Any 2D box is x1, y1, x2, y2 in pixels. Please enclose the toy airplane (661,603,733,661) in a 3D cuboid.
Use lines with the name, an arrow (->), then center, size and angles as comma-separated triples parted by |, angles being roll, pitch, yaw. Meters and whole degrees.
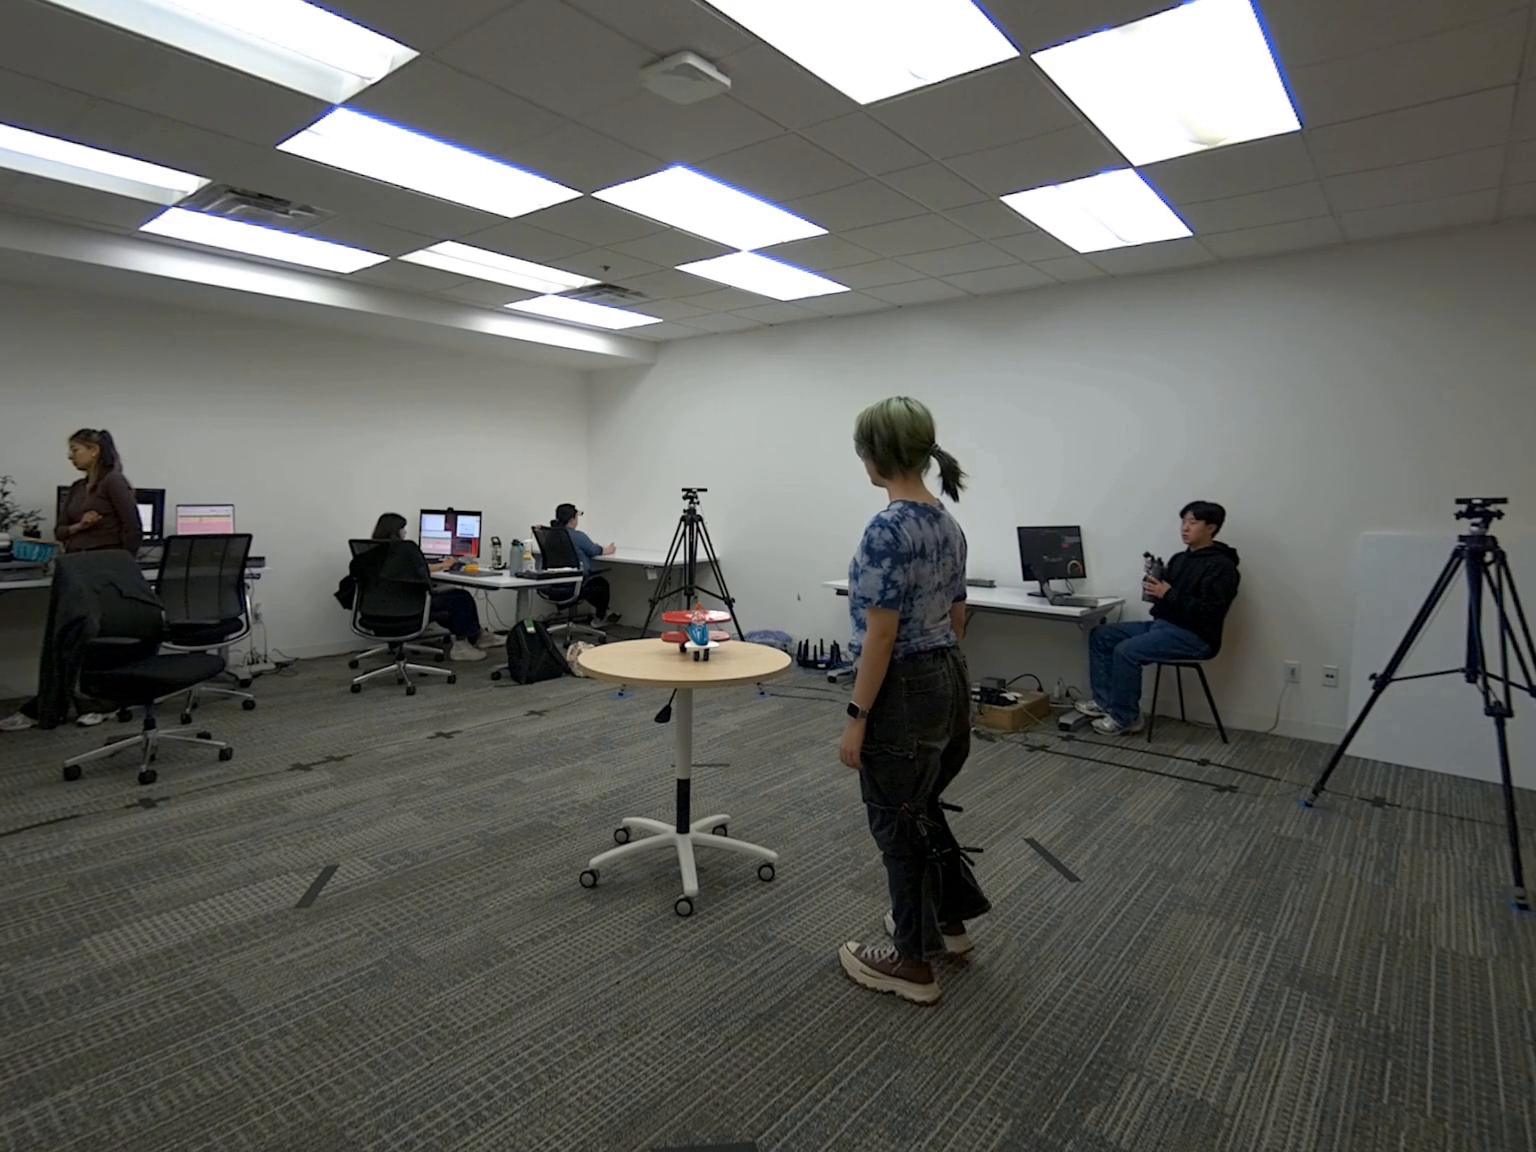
toy airplane -> -0.251, 0.209, 3.096 | 0.244, 0.156, 0.268 | -4, 5, -39
